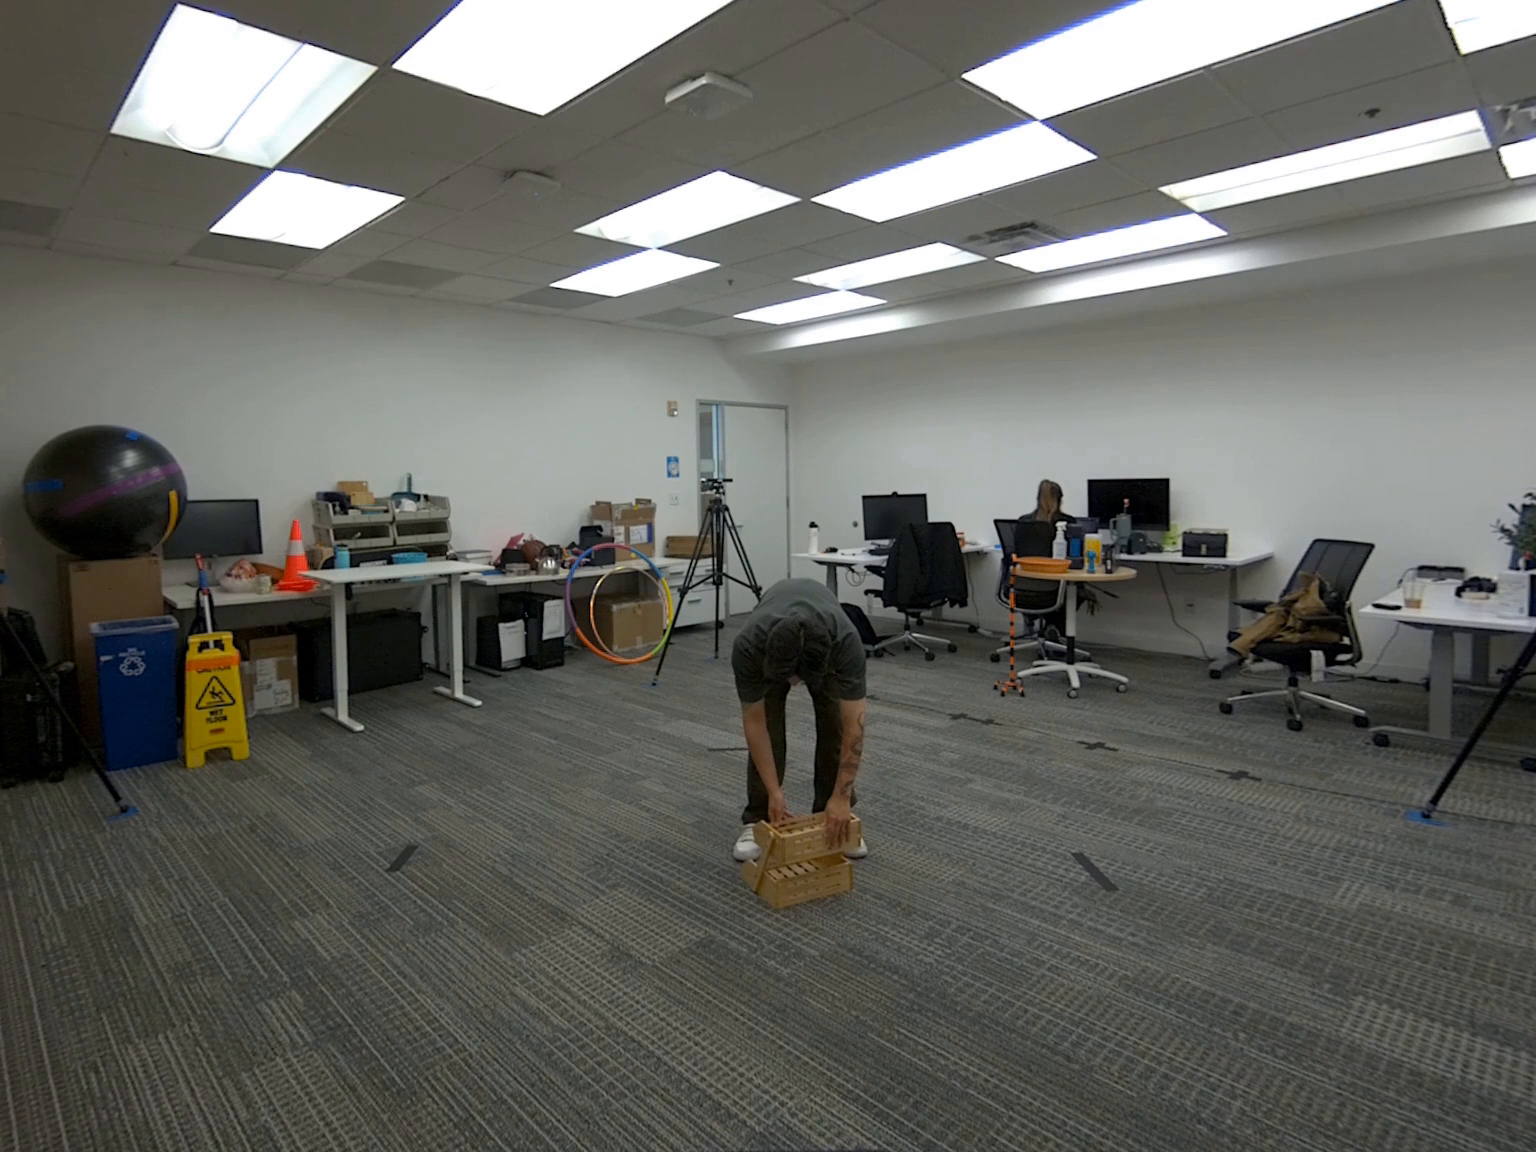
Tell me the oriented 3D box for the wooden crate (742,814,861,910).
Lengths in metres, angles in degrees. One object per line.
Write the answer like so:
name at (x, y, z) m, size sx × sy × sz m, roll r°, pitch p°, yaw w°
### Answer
wooden crate at (0.109, 0.929, 2.915) m, size 0.317 × 0.272 × 0.310 m, roll -3°, pitch 6°, yaw -26°
